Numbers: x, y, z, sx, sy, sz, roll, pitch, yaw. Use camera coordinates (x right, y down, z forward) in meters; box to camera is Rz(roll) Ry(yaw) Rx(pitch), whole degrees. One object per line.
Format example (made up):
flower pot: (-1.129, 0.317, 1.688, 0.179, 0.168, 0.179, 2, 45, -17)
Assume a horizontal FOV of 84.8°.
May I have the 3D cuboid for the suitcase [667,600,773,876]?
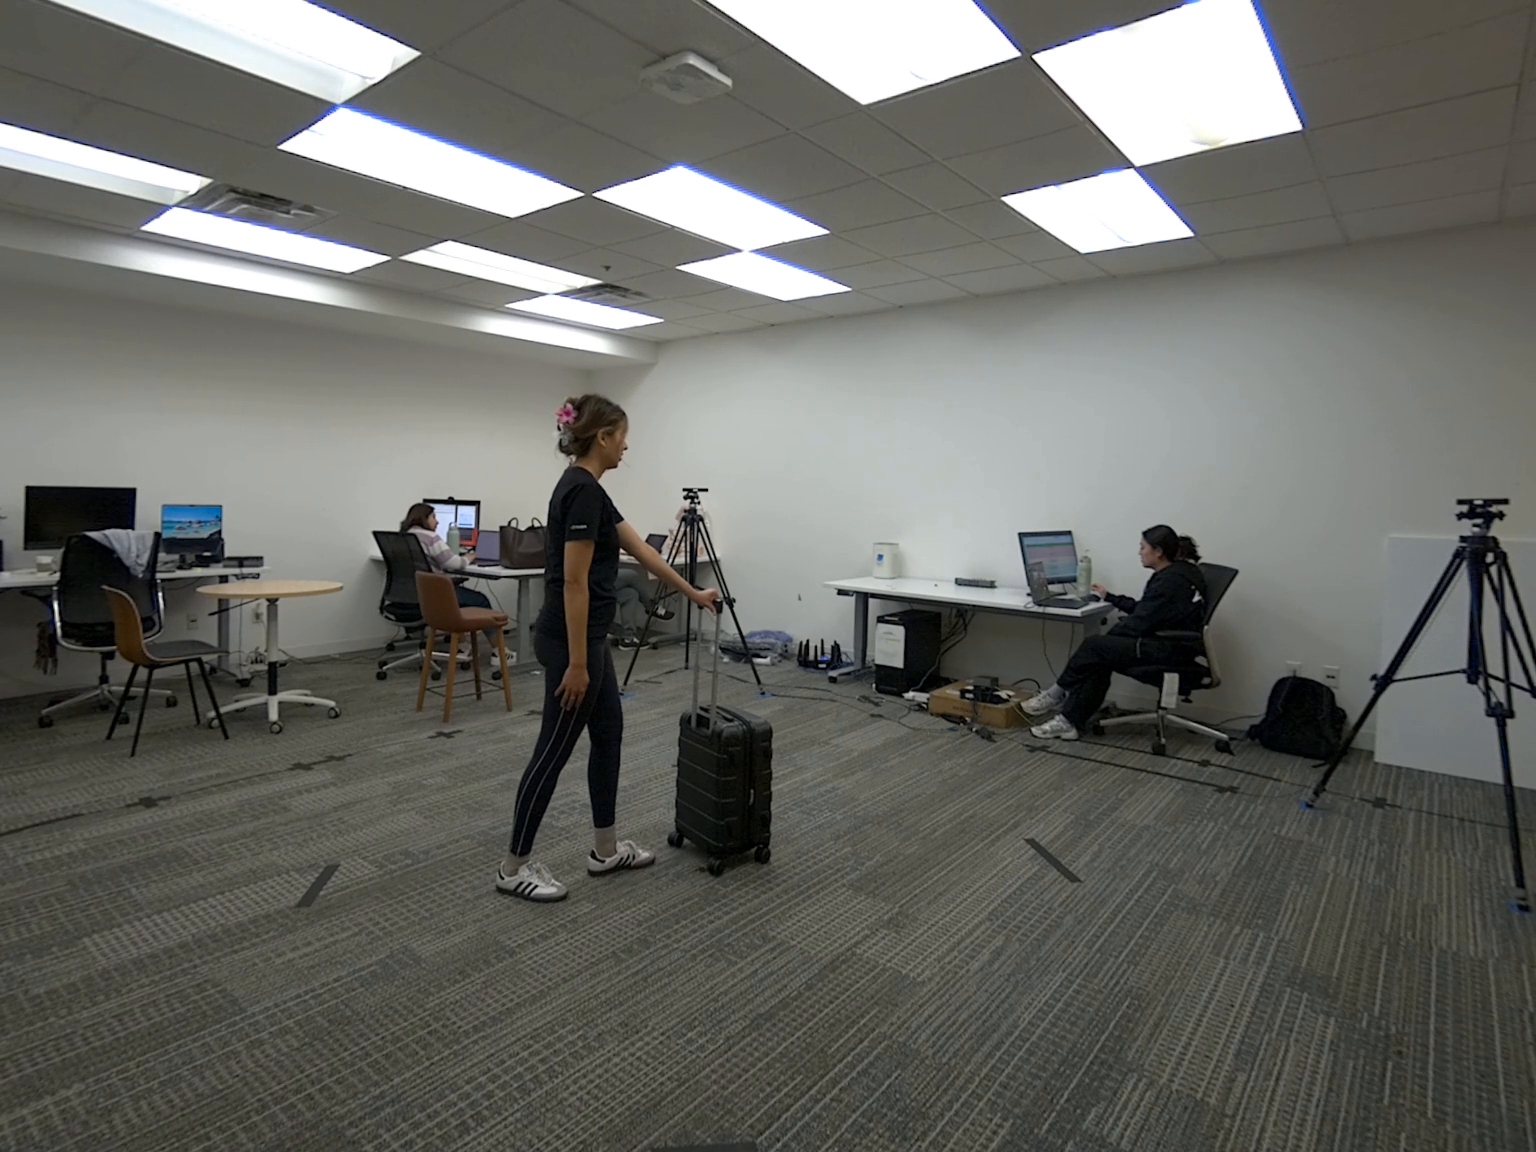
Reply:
suitcase: (-0.172, 0.582, 3.256, 0.249, 0.978, 0.395, 3, 1, -32)
